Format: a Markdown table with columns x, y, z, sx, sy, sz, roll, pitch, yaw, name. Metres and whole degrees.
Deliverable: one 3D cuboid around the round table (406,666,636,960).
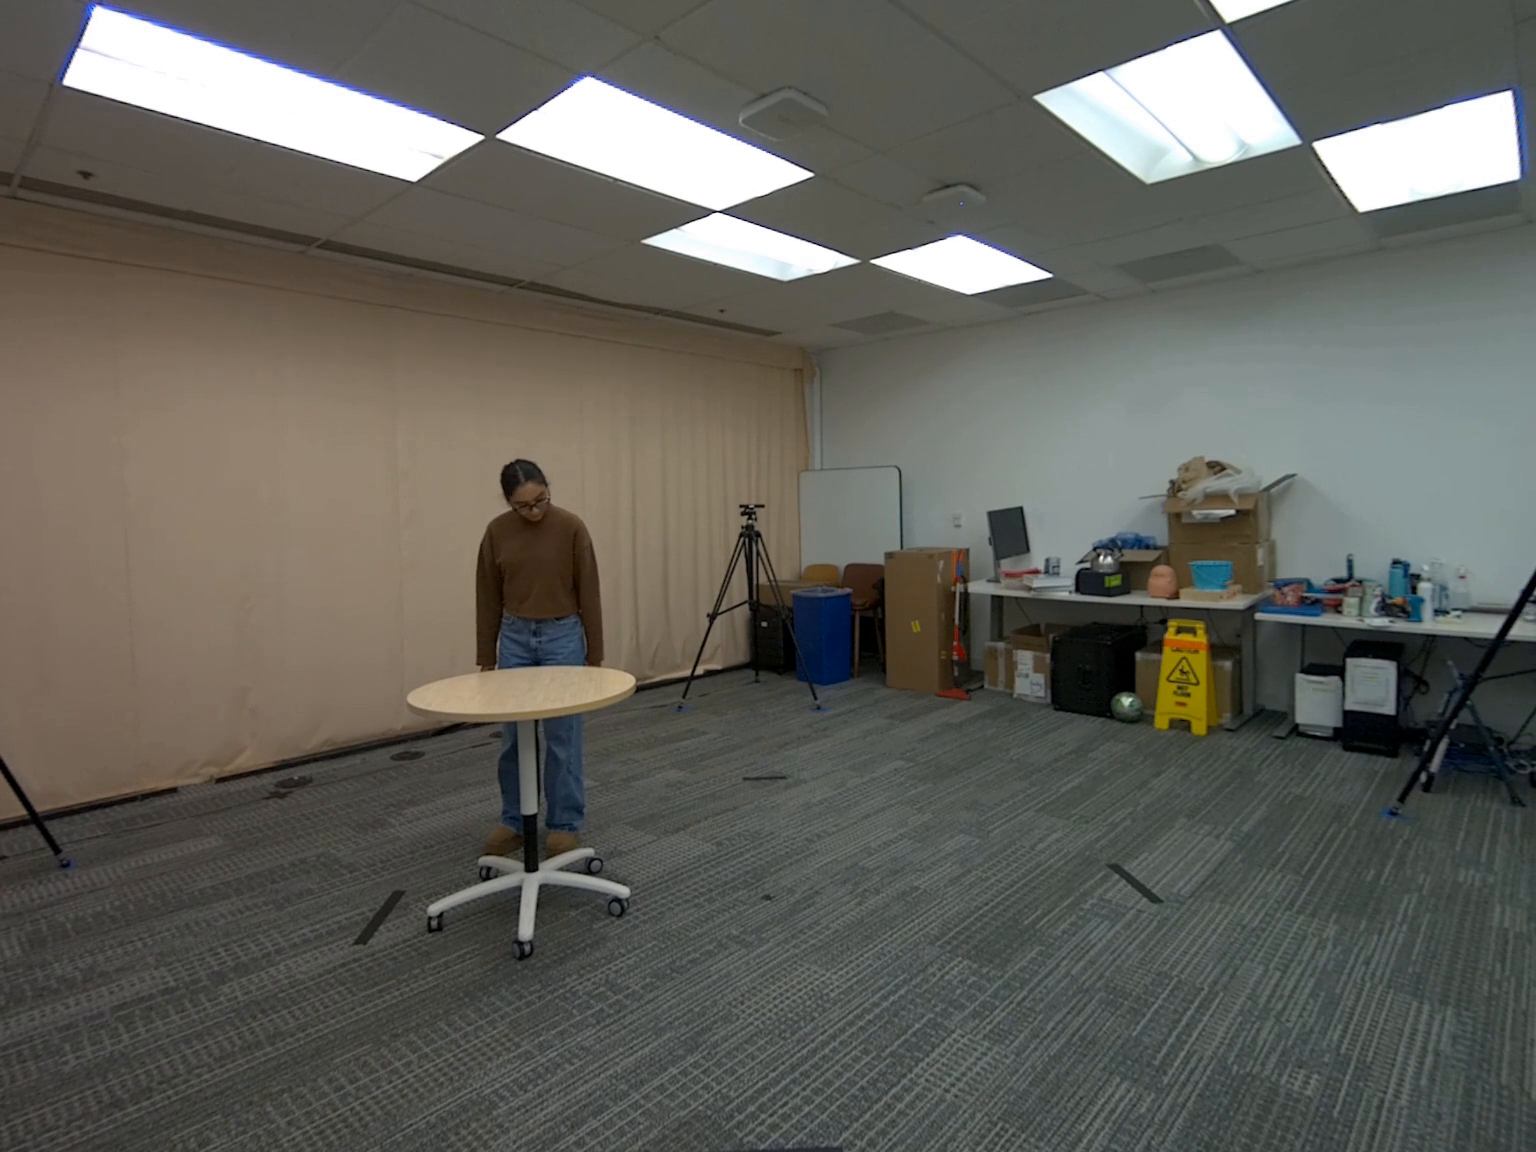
| x | y | z | sx | sy | sz | roll | pitch | yaw | name |
| --- | --- | --- | --- | --- | --- | --- | --- | --- | --- |
| -0.826 | 0.777 | 2.913 | 0.763 | 0.792 | 0.766 | -2 | 3 | -2 | round table |
